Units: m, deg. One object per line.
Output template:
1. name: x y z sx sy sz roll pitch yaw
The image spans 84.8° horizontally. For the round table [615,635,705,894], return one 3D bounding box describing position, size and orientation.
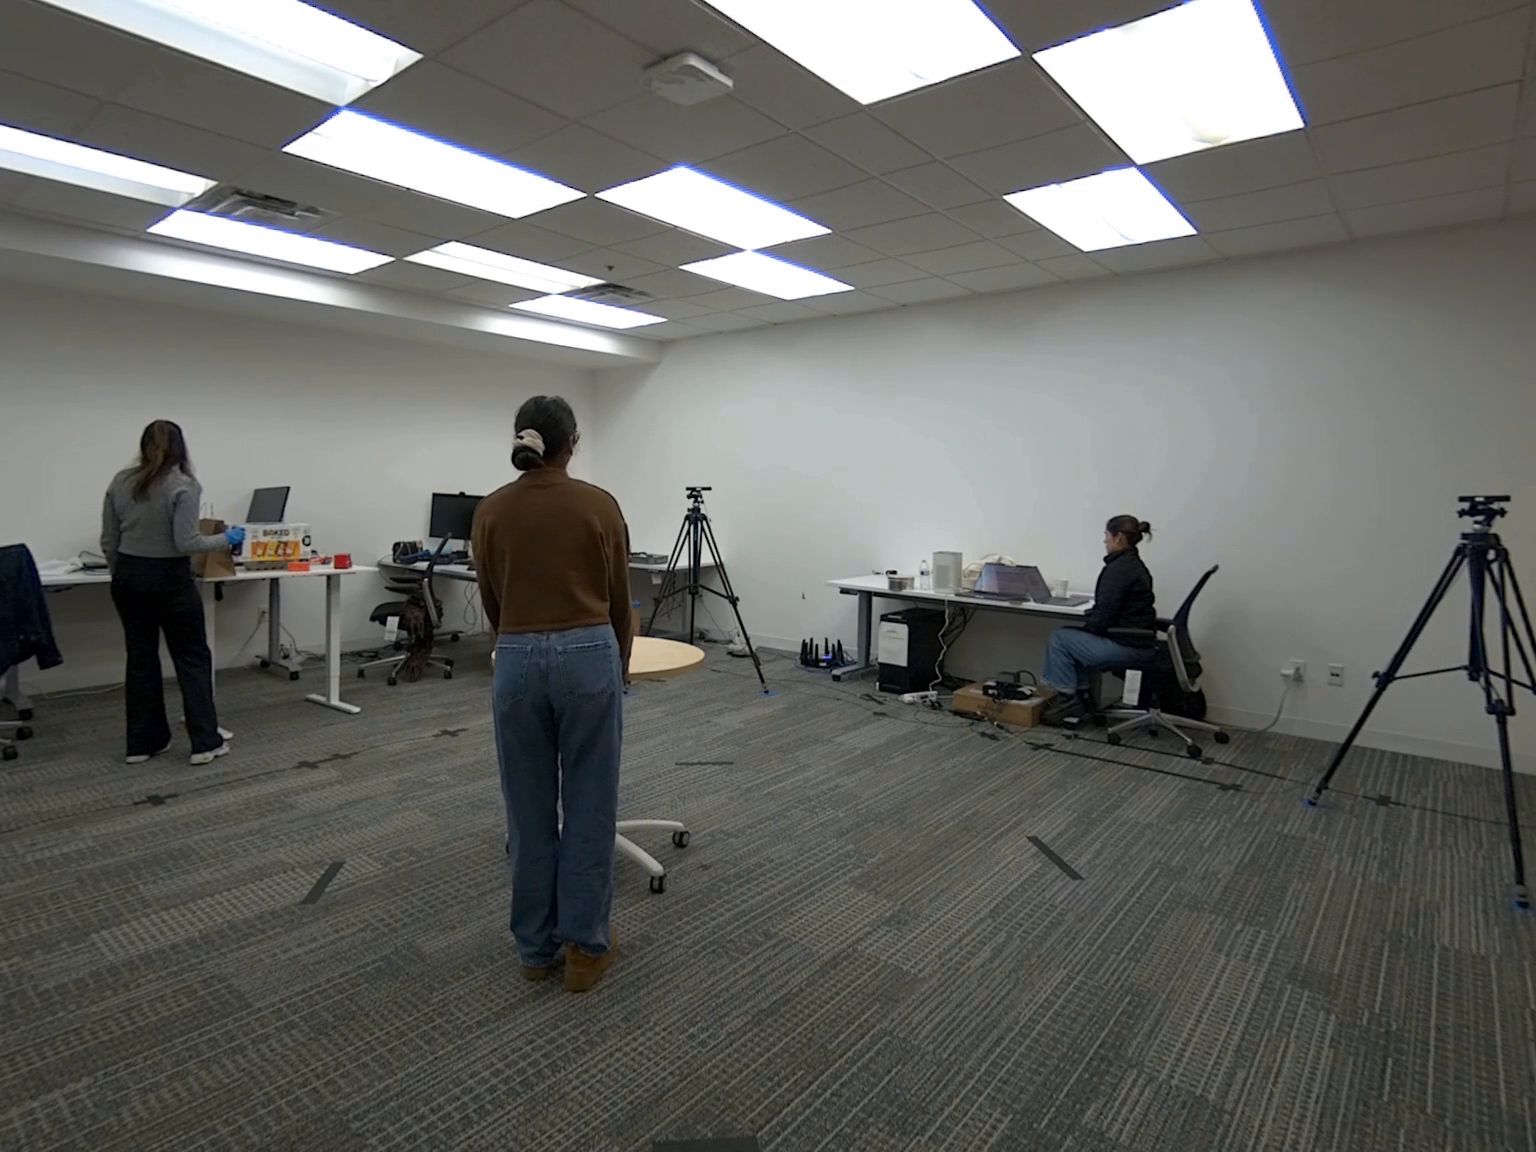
1. round table: -0.628 0.669 3.122 0.763 0.792 0.767 1 4 -2
